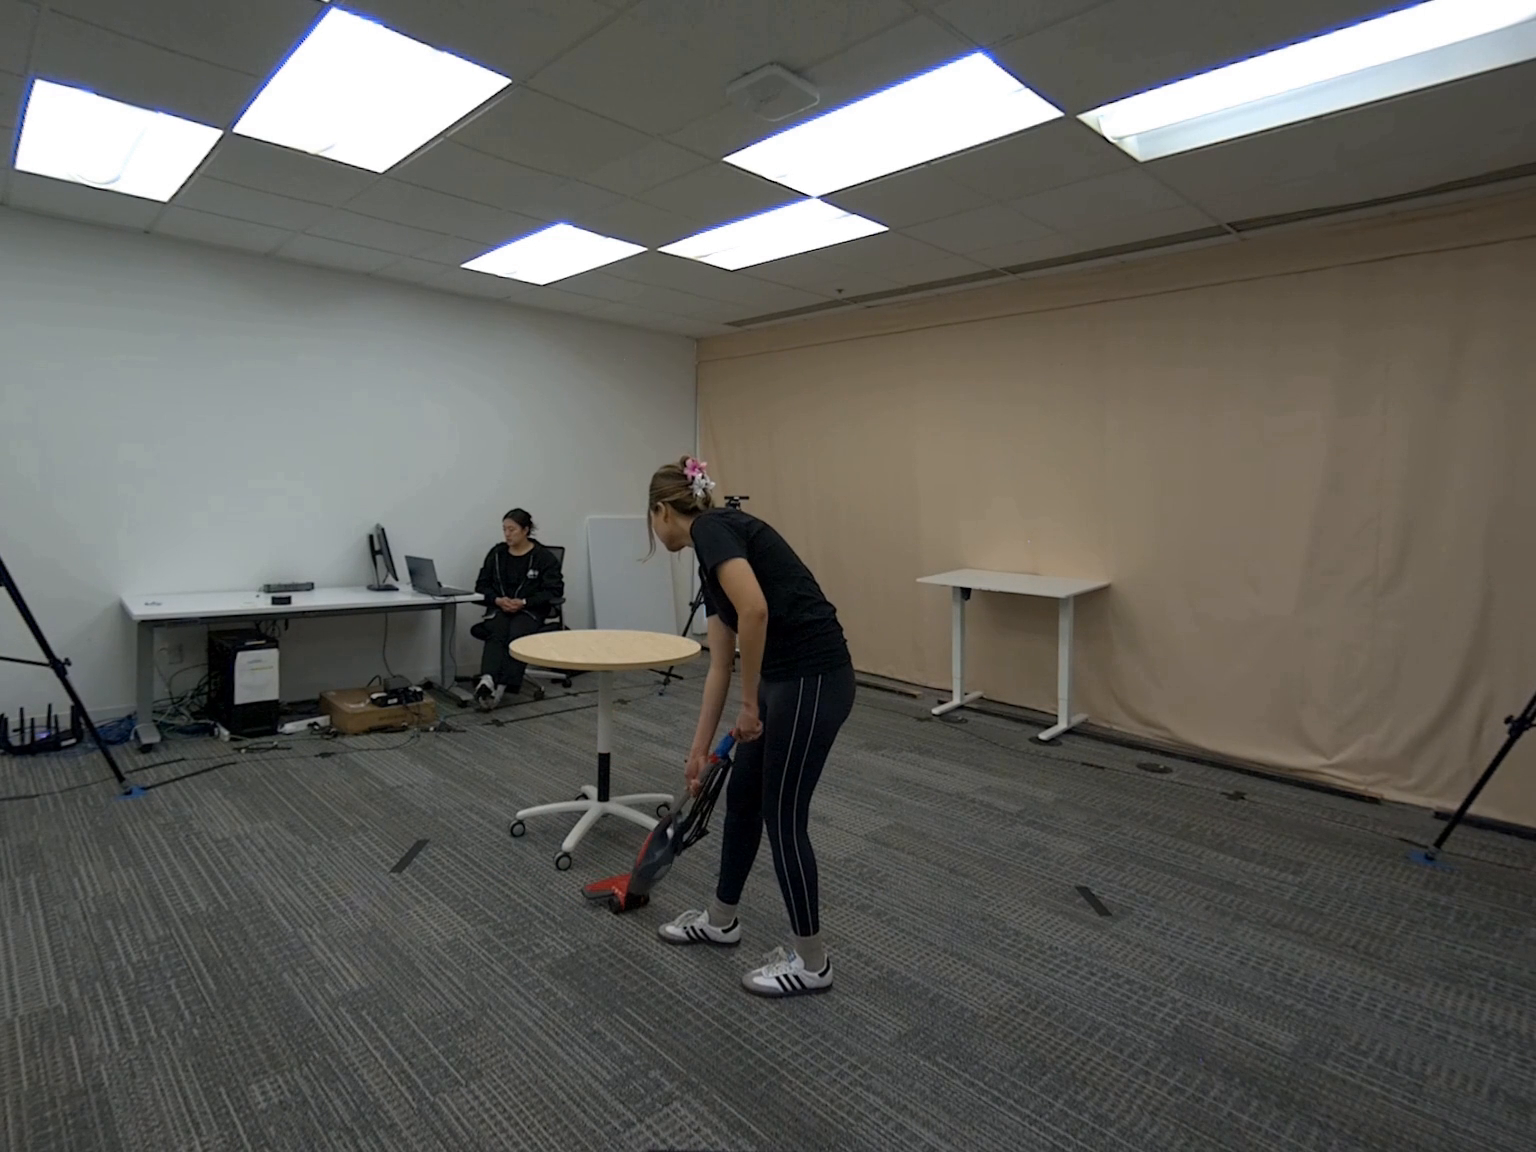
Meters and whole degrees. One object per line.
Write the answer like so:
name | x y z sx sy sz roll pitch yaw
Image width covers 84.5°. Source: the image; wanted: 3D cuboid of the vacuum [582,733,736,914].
vacuum | -0.288 0.760 2.572 0.247 0.148 1.043 -6 -36 -39
